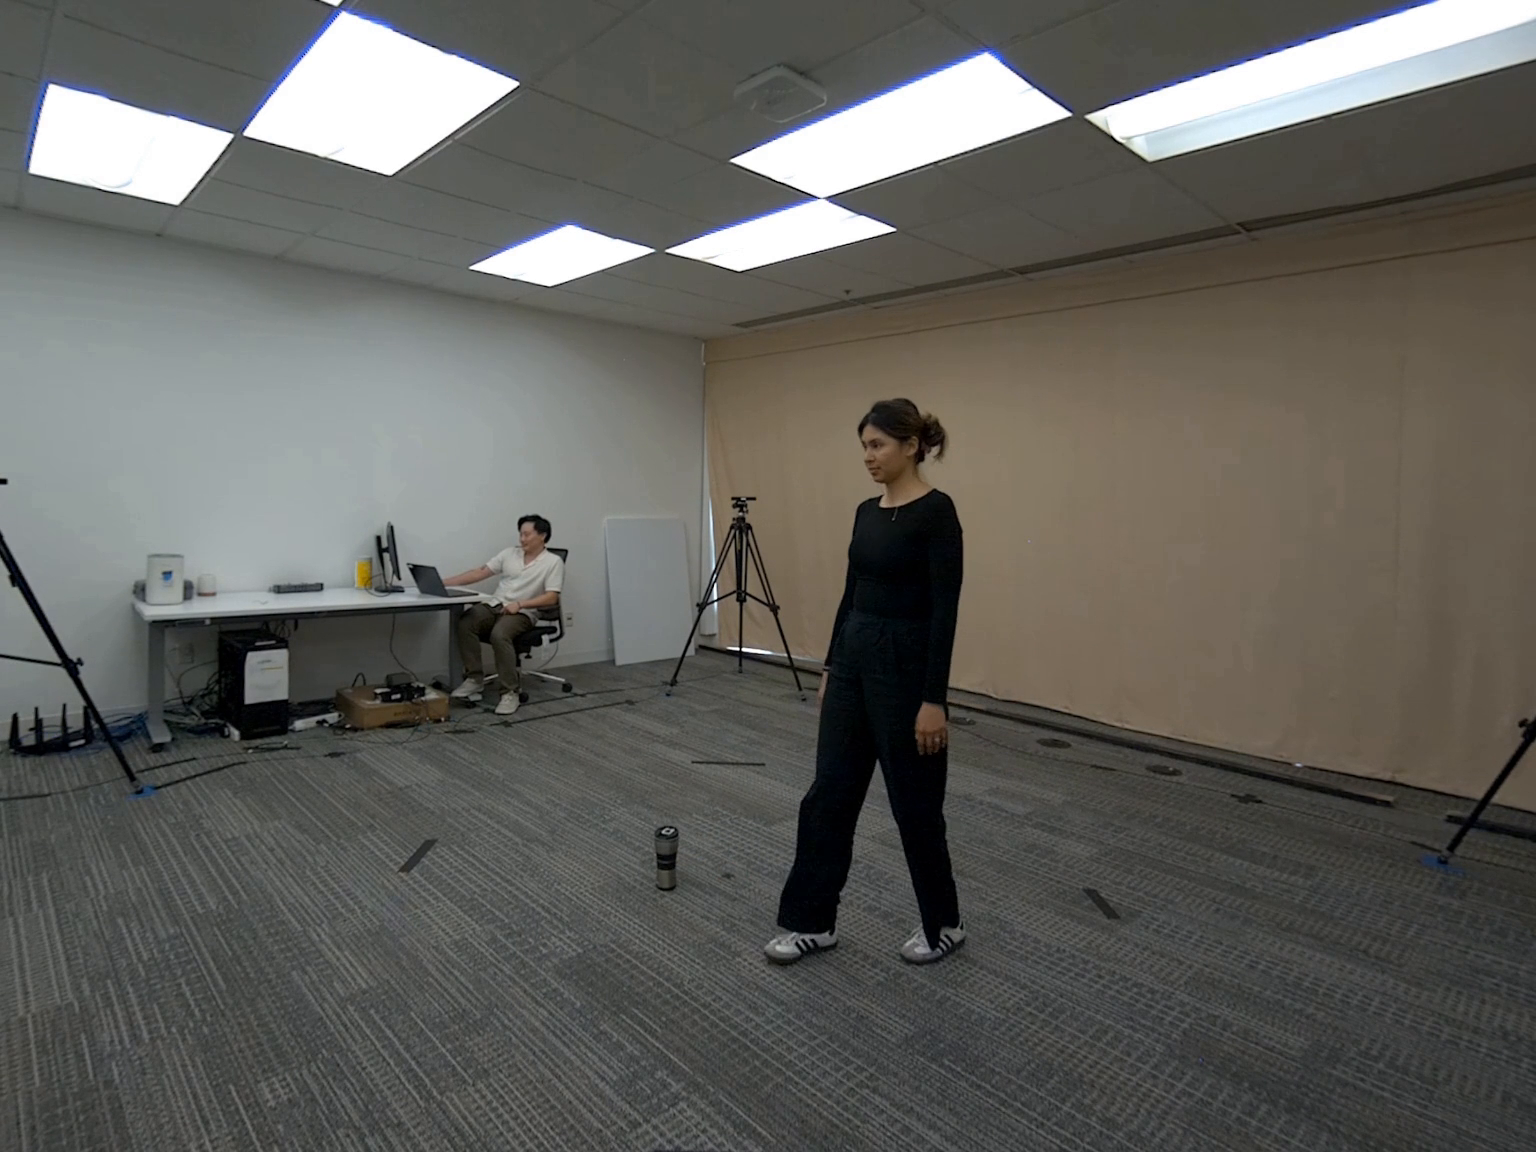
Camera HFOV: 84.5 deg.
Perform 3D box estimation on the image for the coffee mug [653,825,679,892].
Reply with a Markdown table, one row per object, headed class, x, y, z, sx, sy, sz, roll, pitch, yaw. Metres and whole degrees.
| class | x | y | z | sx | sy | sz | roll | pitch | yaw |
| --- | --- | --- | --- | --- | --- | --- | --- | --- | --- |
| coffee mug | -0.360 | 1.011 | 3.019 | 0.089 | 0.202 | 0.120 | 1 | 6 | 25 |
